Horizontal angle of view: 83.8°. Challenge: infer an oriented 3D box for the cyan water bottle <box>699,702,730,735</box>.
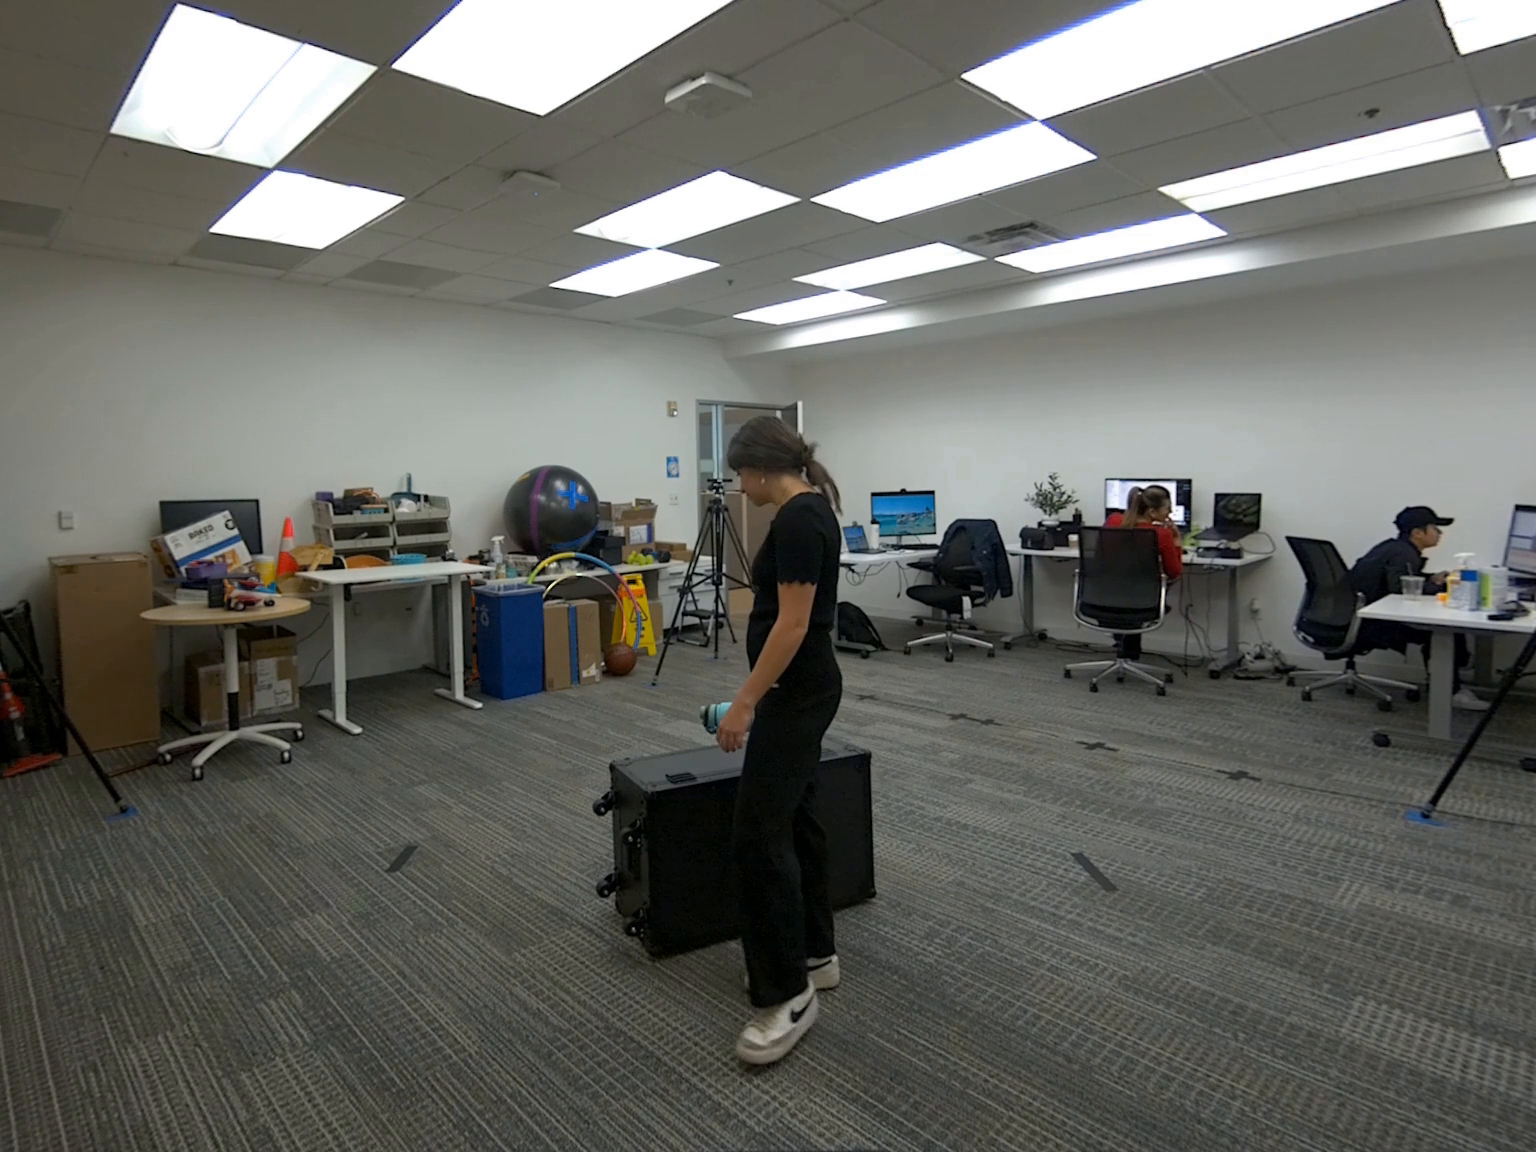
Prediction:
[{"bbox_3d":[-0.049,0.428,2.566,0.284,0.092,0.092,-5,5,3],"label":"cyan water bottle"}]
